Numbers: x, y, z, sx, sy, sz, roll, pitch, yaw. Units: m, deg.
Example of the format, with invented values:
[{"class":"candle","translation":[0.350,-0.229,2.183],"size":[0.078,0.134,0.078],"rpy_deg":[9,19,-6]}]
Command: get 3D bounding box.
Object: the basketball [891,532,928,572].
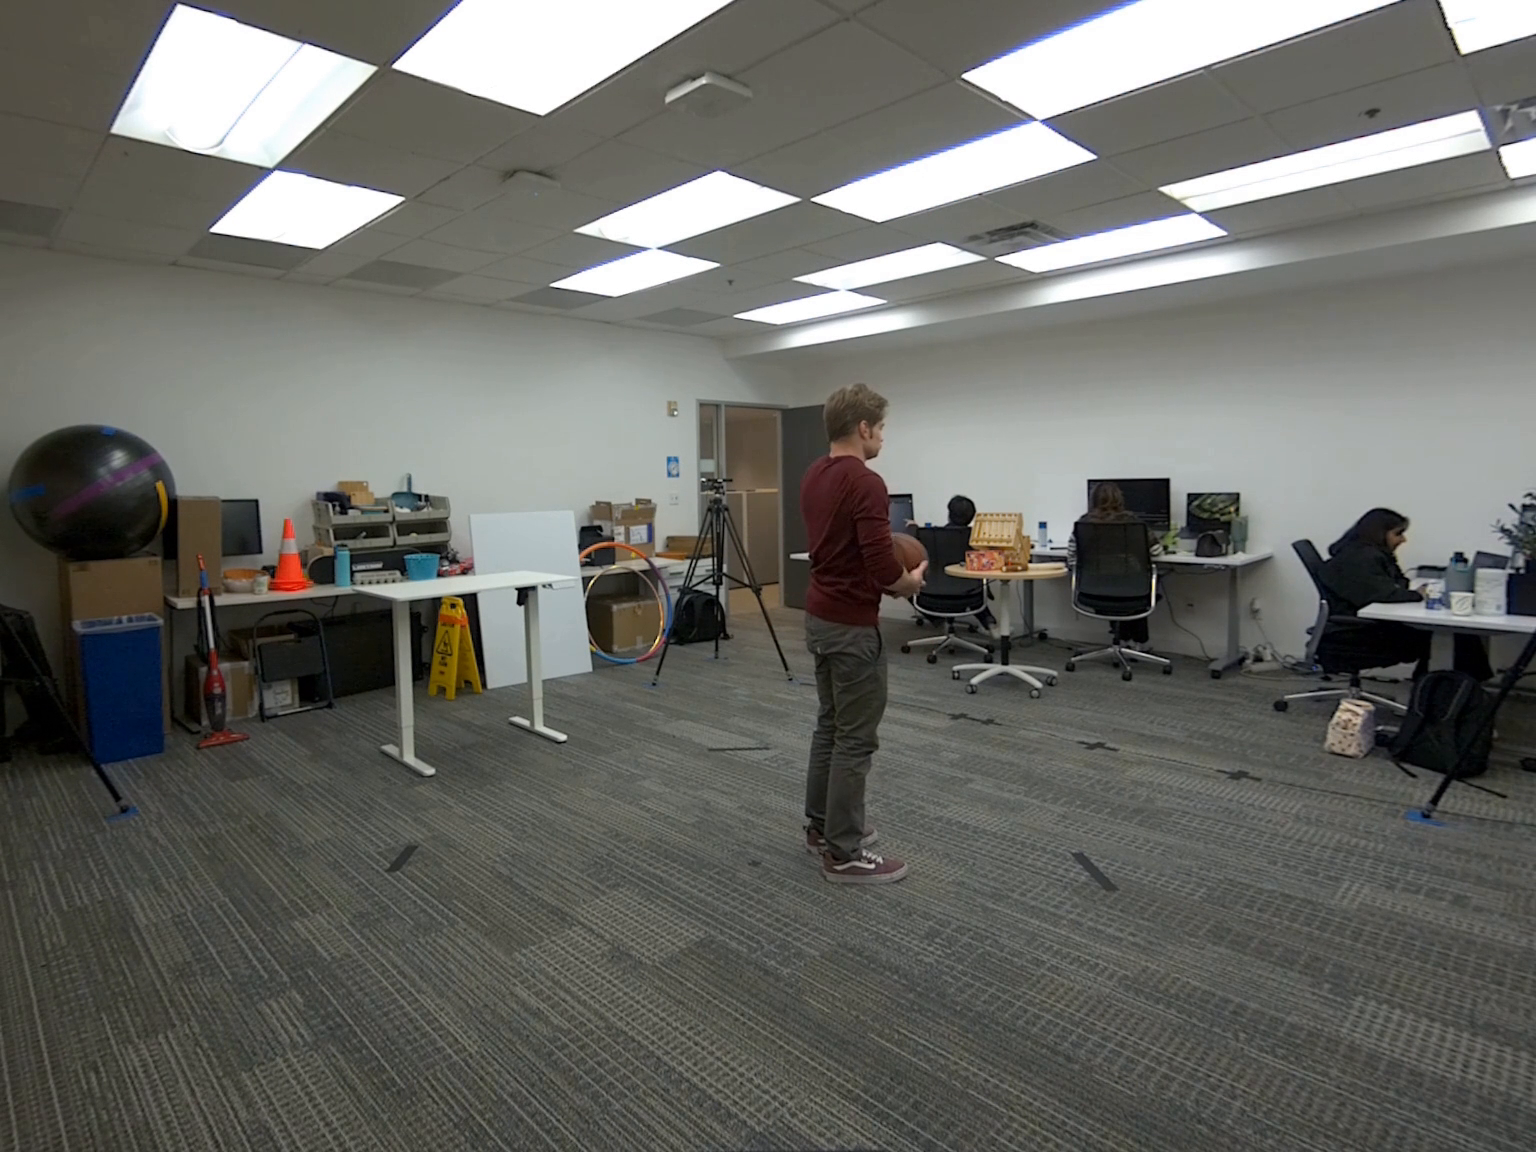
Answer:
[{"class":"basketball","translation":[0.466,-0.044,3.178],"size":[0.236,0.235,0.237],"rpy_deg":[-1,5,-2]}]
